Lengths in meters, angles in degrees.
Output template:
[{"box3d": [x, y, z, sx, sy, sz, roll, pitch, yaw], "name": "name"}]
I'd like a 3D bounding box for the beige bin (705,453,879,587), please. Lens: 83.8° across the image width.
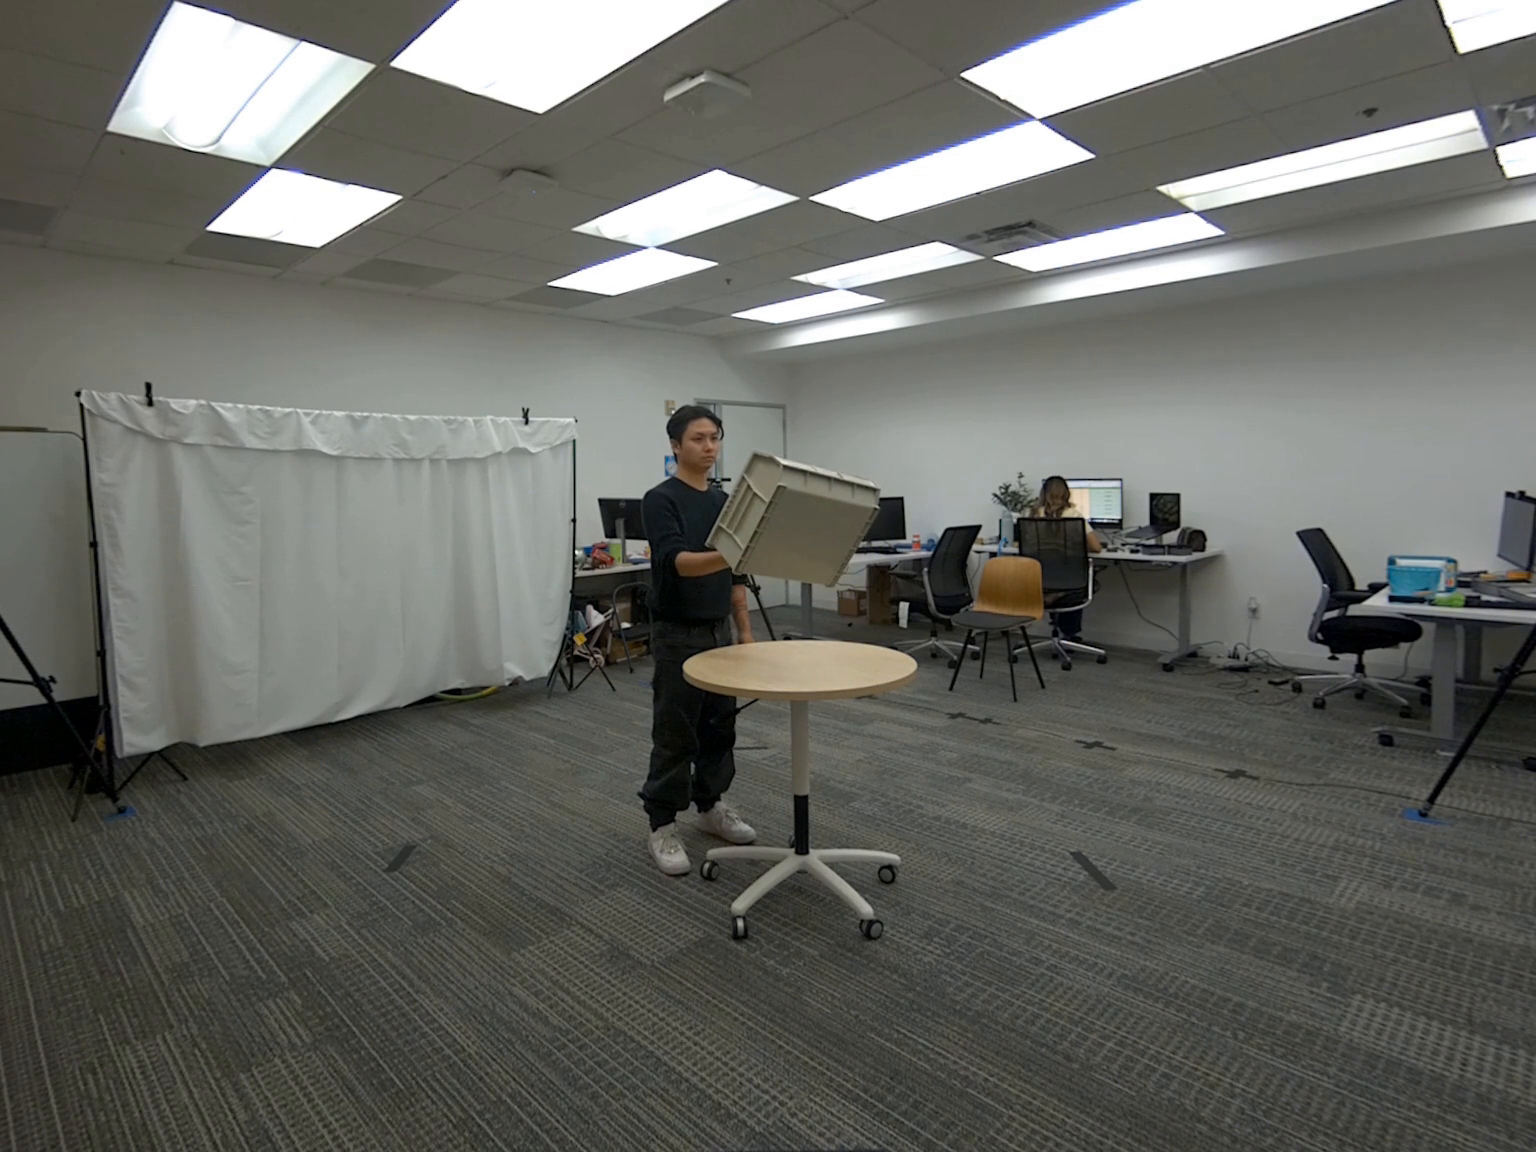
[{"box3d": [0.095, -0.172, 2.655, 0.409, 0.374, 0.196, 10, 28, -37], "name": "beige bin"}]
